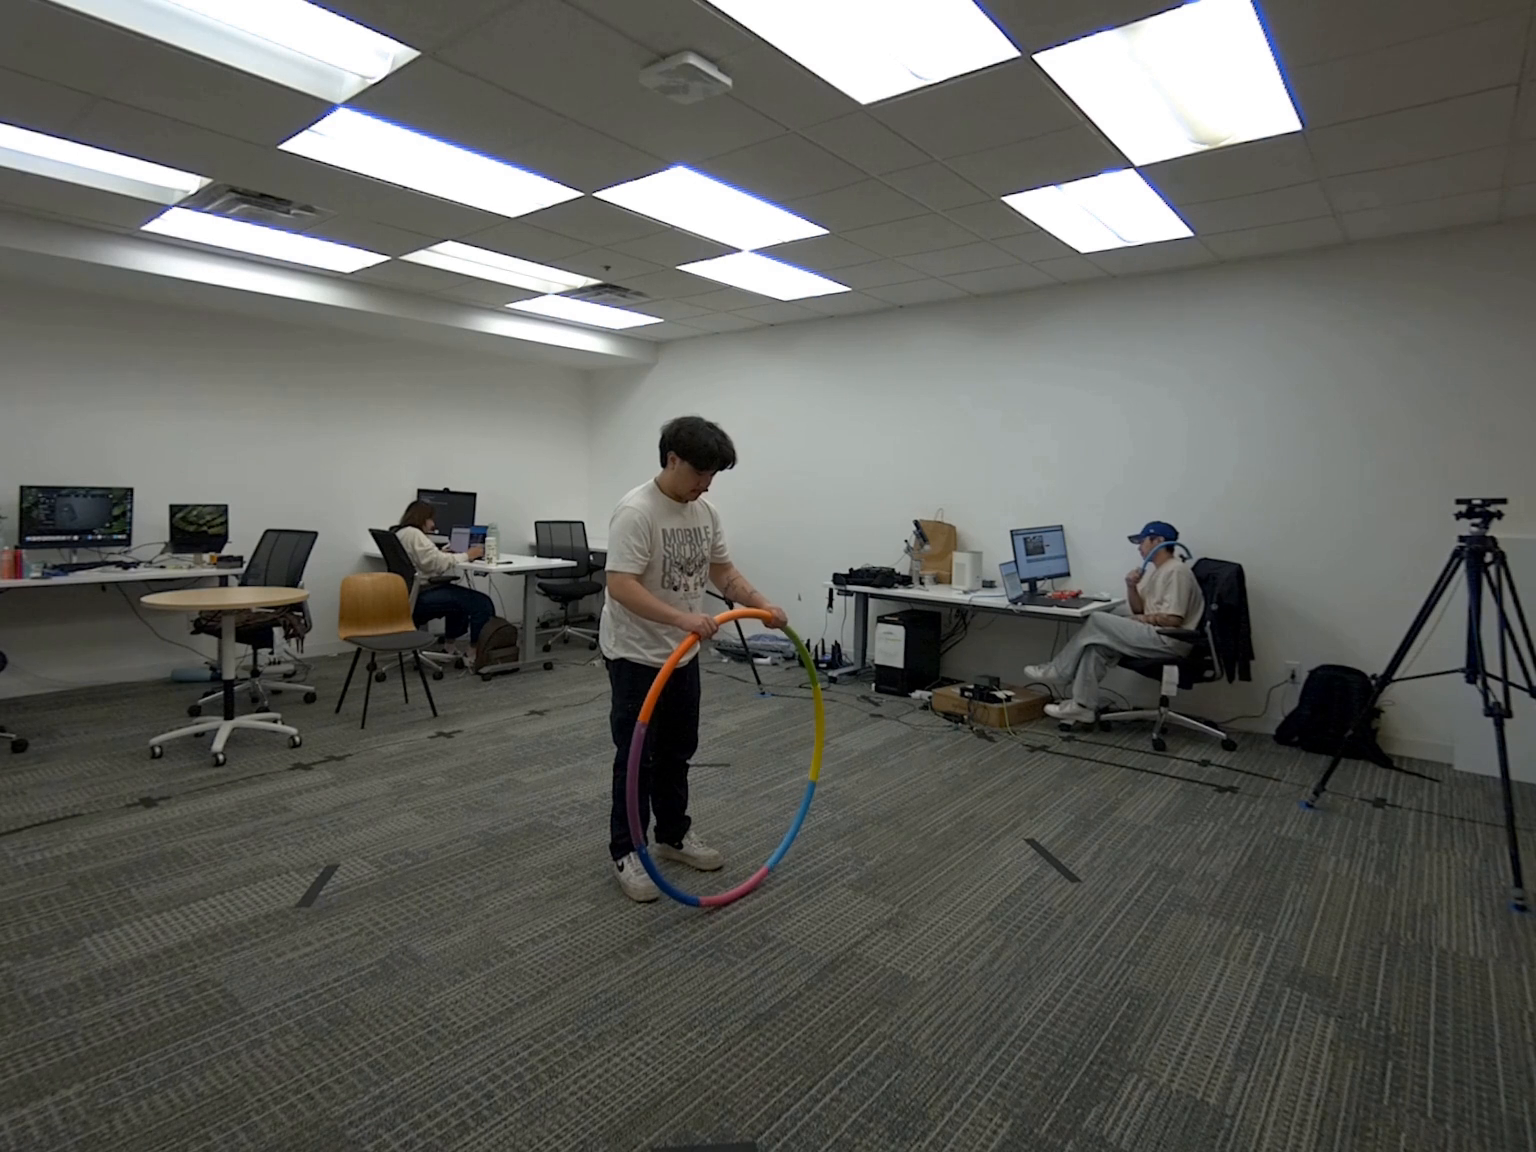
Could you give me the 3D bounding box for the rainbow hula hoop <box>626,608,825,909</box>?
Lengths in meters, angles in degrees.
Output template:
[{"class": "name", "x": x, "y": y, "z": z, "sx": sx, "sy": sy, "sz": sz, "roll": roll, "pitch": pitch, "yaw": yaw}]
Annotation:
[{"class": "rainbow hula hoop", "x": -0.116, "y": 0.603, "z": 2.865, "sx": 0.053, "sy": 0.983, "sz": 0.956, "roll": 2, "pitch": 4, "yaw": 41}]
